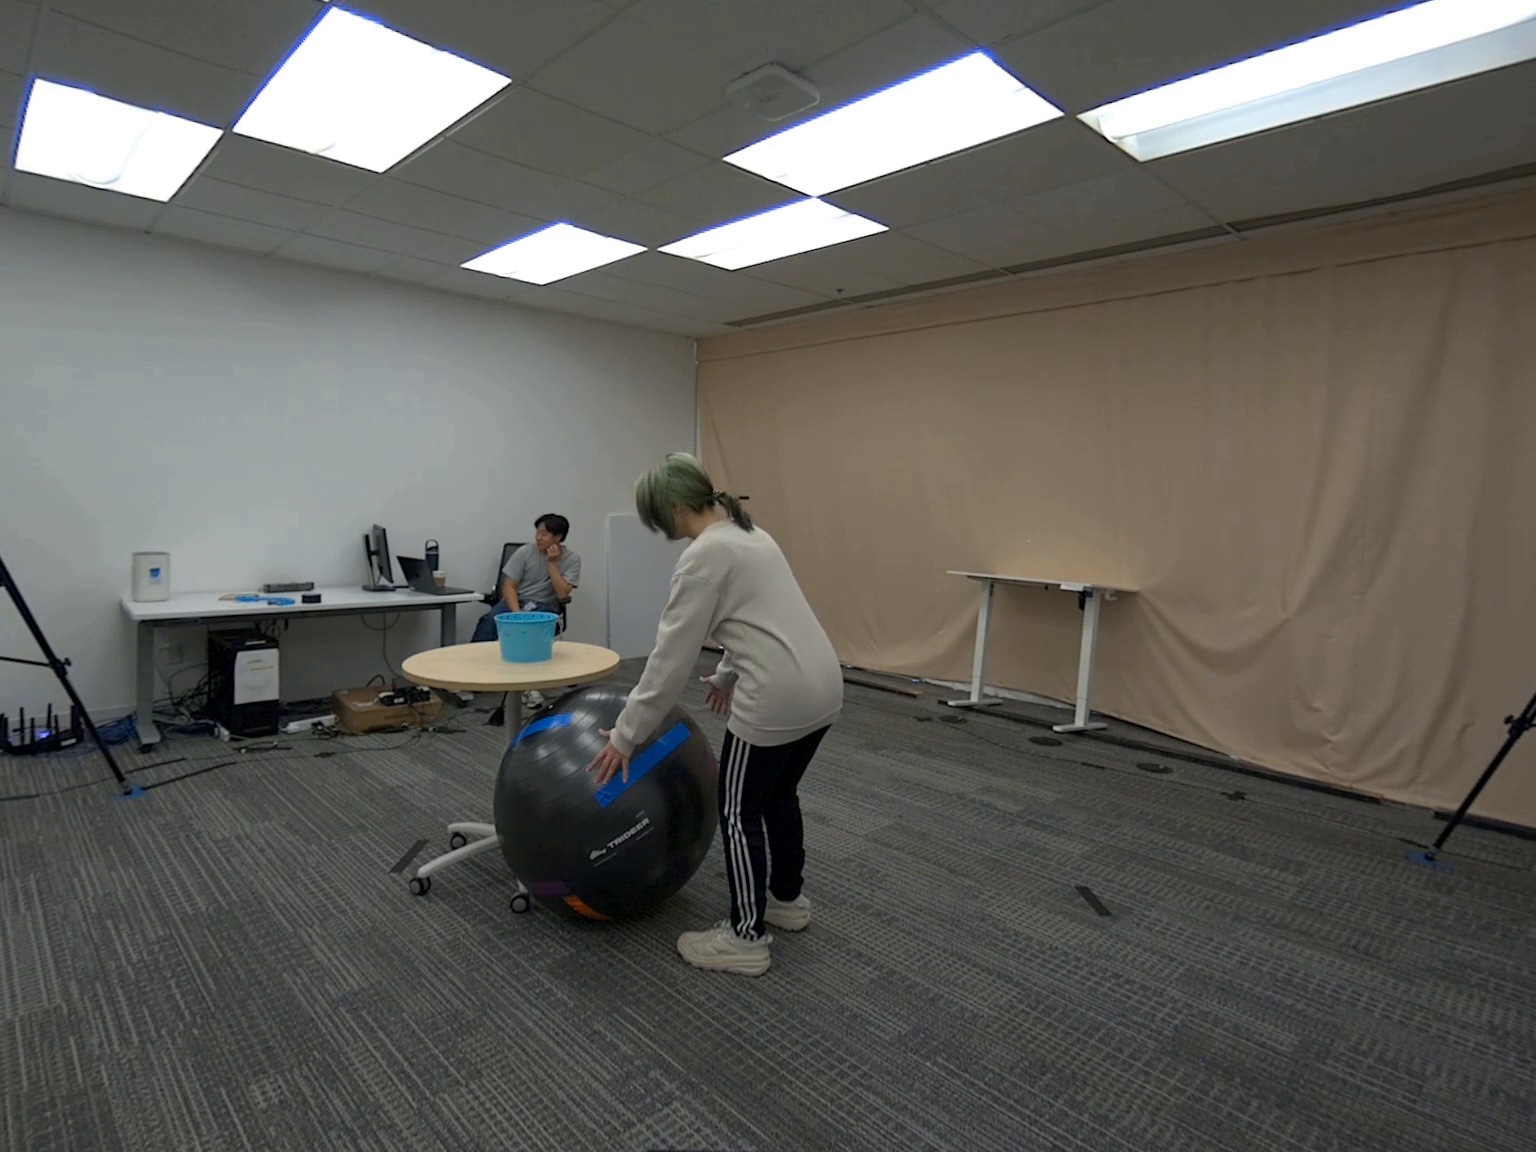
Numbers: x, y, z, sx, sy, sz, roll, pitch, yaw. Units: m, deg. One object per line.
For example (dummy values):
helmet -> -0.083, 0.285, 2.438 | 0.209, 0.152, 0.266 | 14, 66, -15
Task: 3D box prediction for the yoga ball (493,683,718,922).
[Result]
yoga ball -> -0.549, 0.759, 2.829 | 0.757, 0.756, 0.761 | 1, 4, -1
